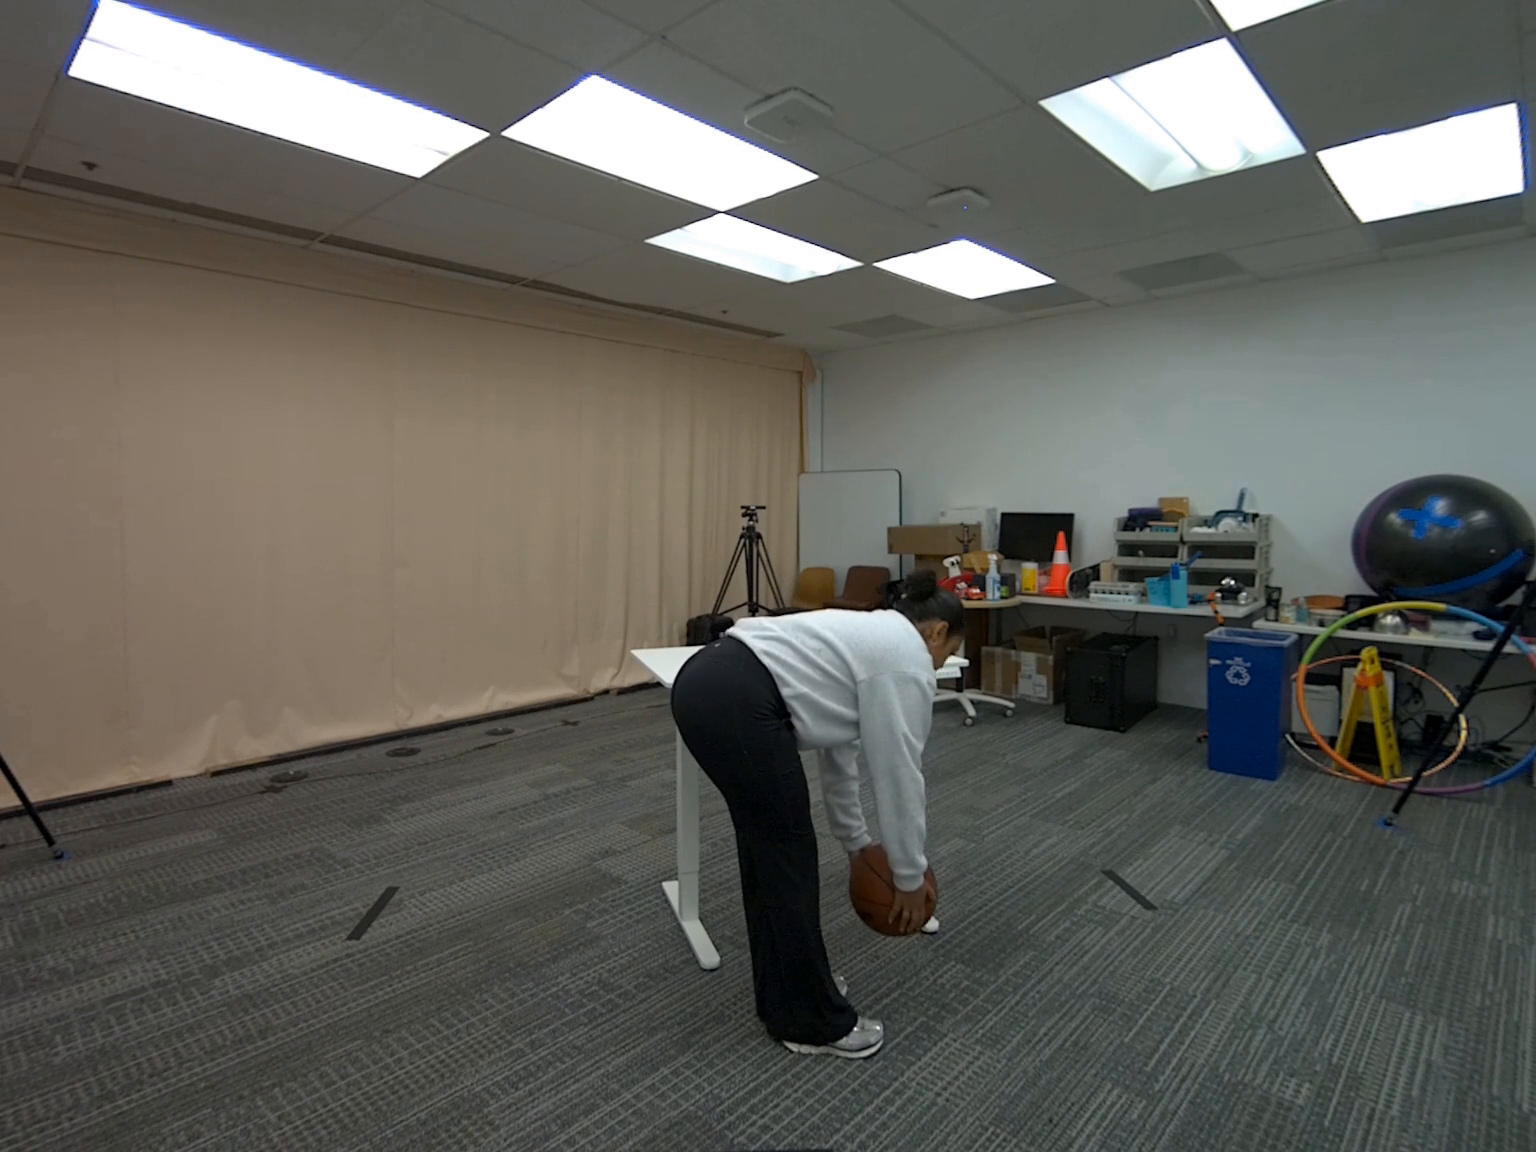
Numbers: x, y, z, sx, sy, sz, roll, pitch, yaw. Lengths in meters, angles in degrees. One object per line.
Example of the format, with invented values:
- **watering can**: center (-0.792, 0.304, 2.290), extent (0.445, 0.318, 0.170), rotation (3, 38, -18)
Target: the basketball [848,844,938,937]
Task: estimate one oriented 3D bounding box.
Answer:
- **basketball**: center (0.342, 0.847, 2.280), extent (0.236, 0.235, 0.237), rotation (0, 4, -2)
